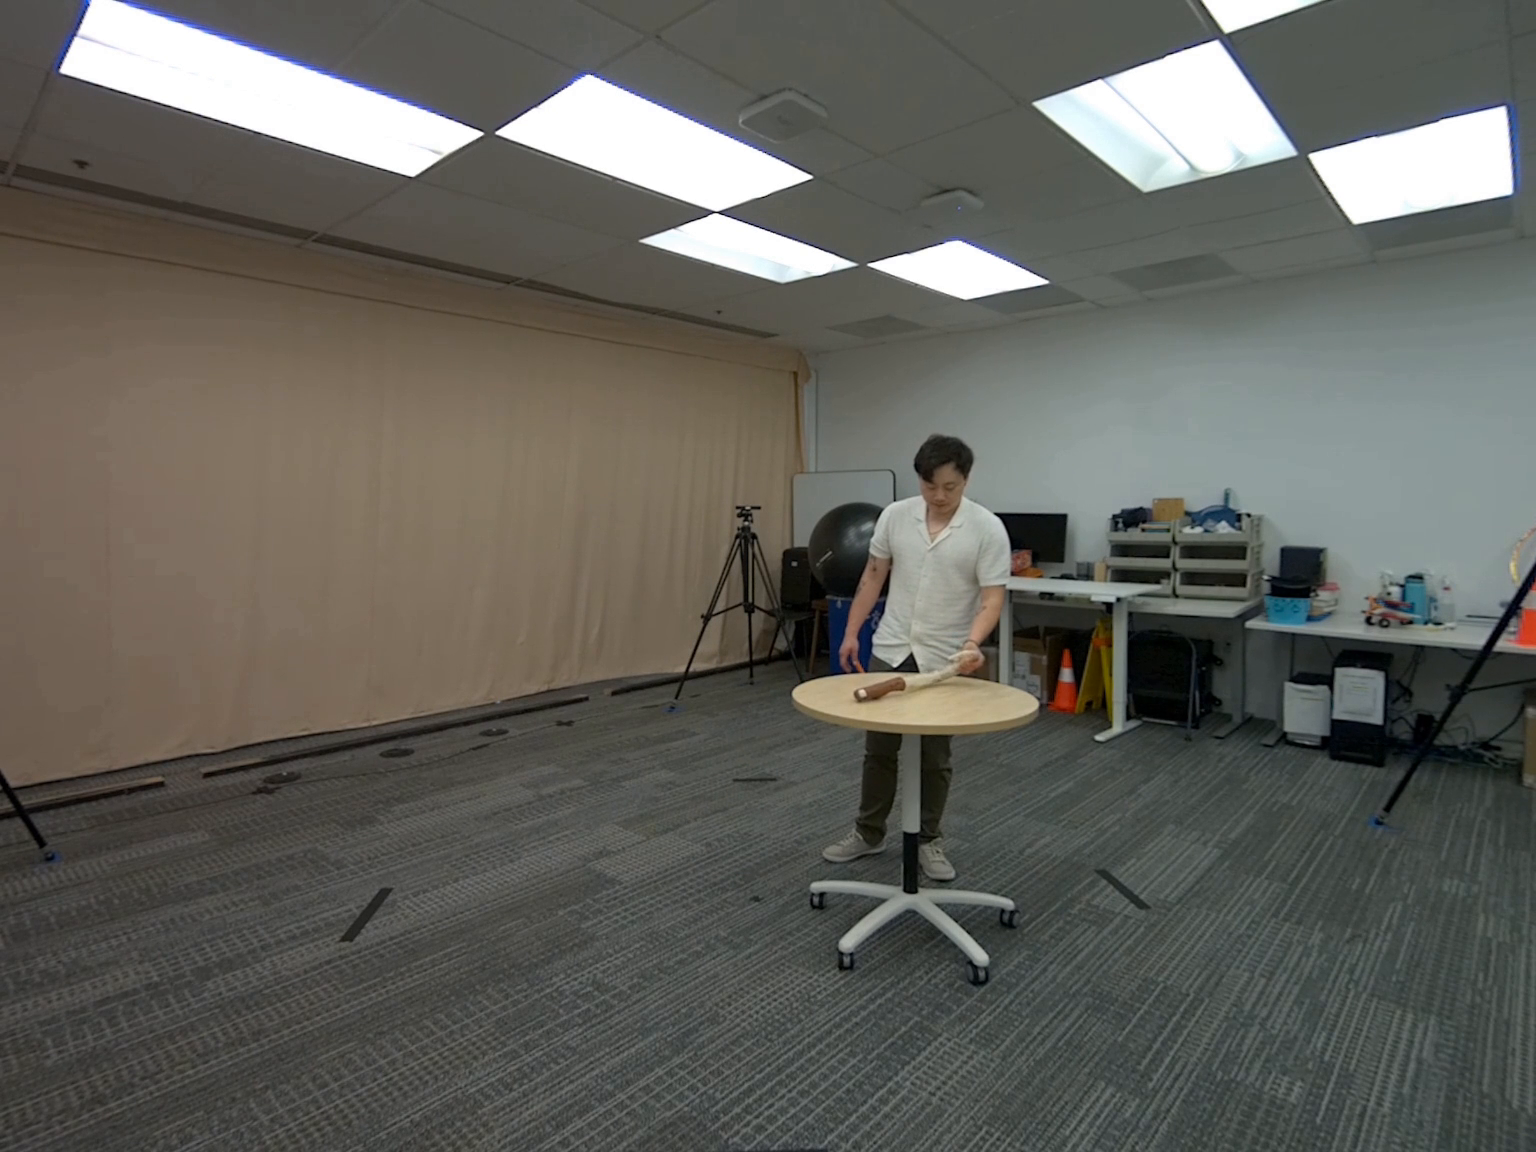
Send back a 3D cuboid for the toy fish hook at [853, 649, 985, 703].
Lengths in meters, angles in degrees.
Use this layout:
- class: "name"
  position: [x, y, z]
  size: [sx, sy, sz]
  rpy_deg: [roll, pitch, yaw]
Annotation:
- class: "toy fish hook"
  position: [0.494, 0.322, 2.689]
  size: [0.492, 0.049, 0.225]
  rpy_deg: [-8, -32, -36]
